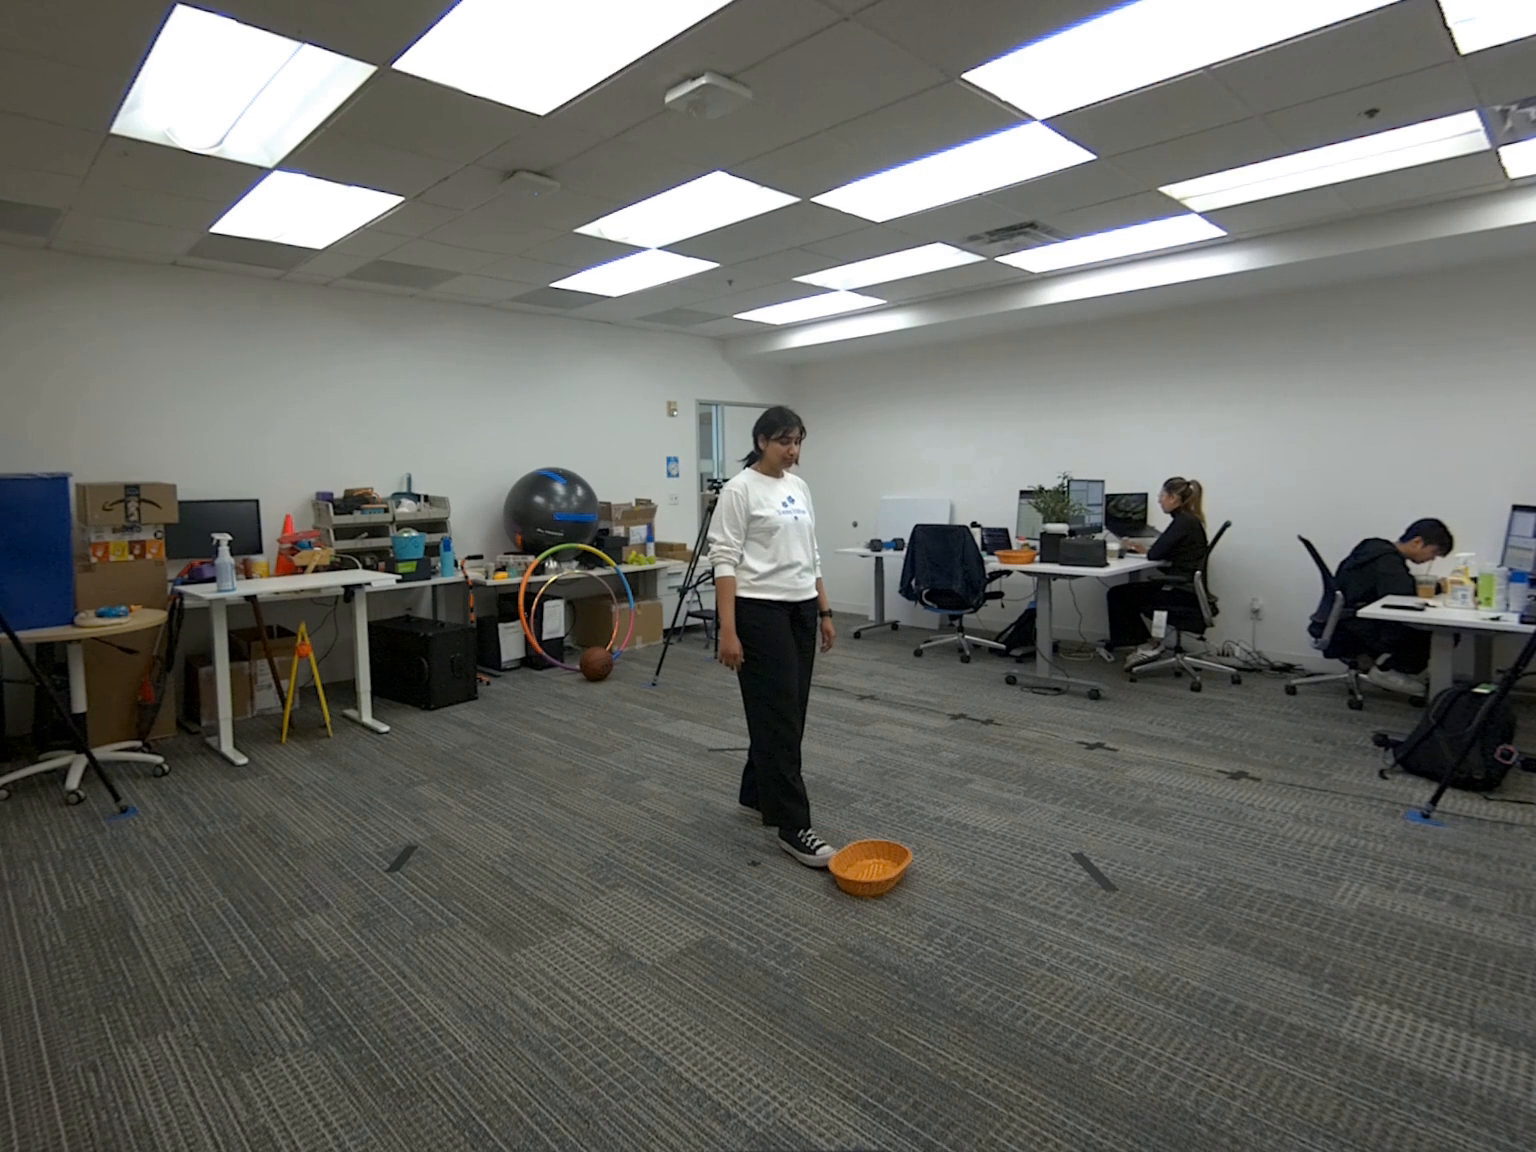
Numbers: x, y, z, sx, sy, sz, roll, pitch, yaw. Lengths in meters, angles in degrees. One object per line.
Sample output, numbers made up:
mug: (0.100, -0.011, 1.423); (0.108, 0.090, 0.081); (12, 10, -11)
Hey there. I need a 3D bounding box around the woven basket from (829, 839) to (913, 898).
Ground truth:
woven basket: (0.353, 1.011, 2.975); (0.259, 0.073, 0.342); (2, 7, 35)
